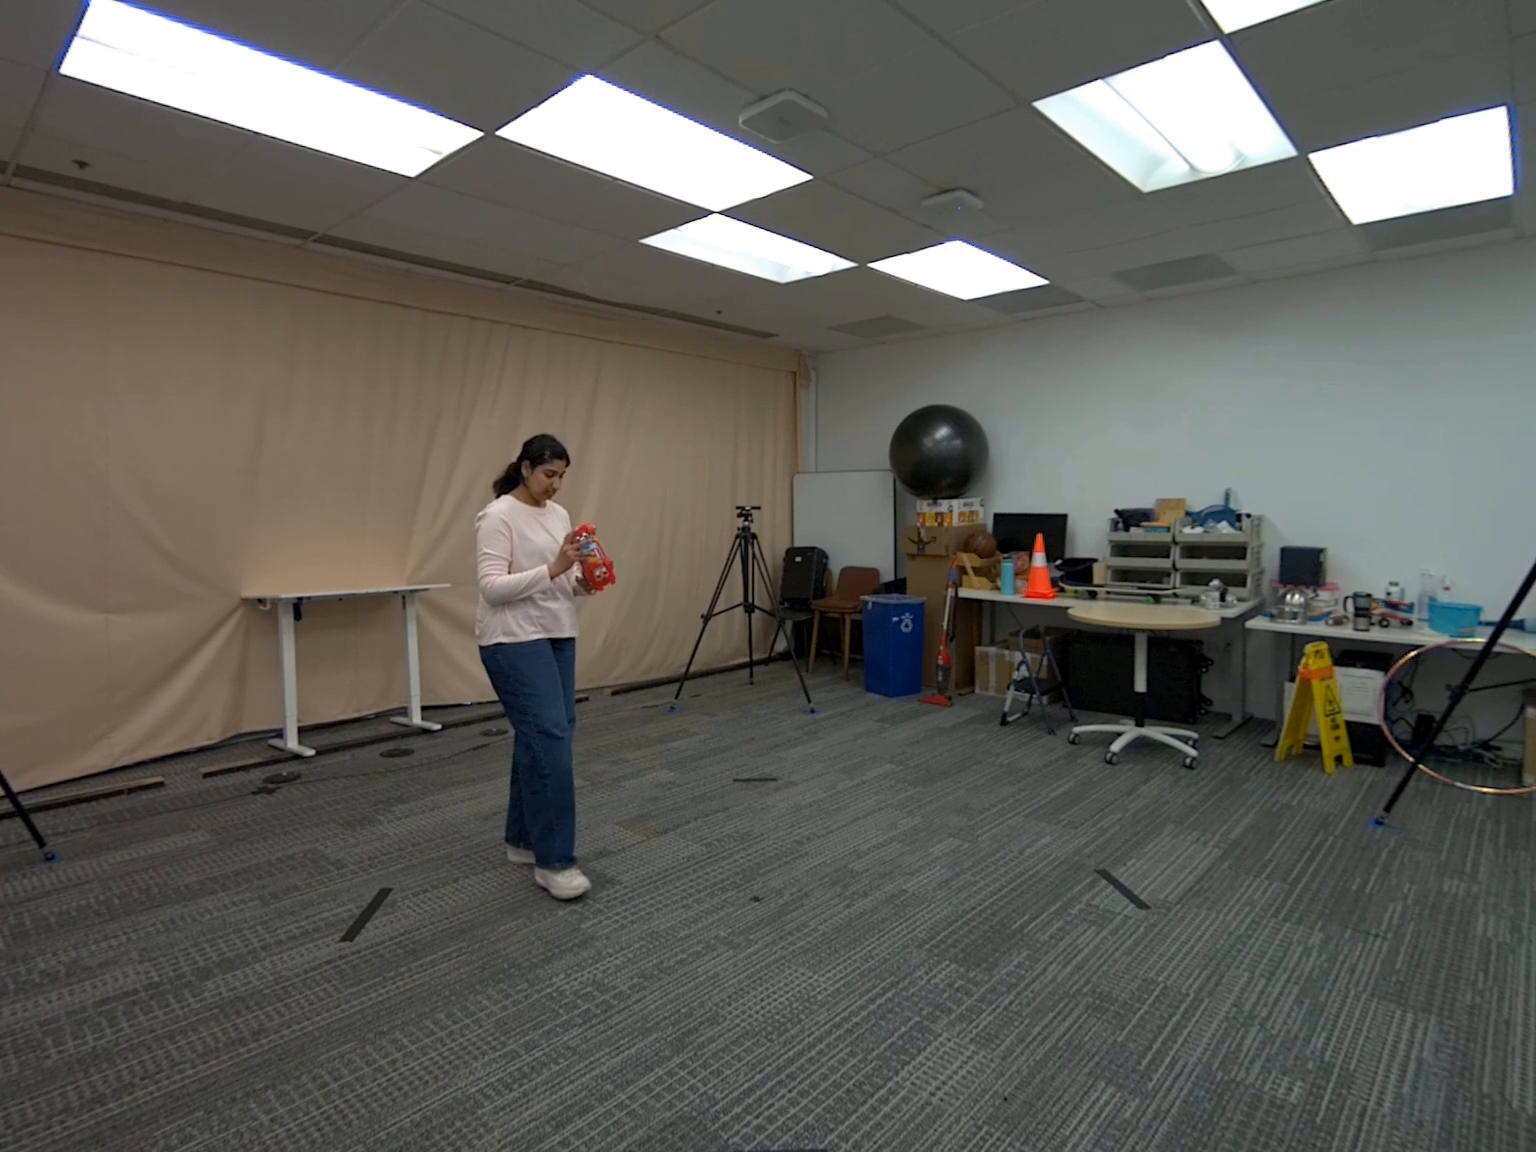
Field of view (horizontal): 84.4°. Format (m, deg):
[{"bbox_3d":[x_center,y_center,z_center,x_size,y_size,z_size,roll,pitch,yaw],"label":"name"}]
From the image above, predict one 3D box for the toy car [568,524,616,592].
[{"bbox_3d":[-0.656,-0.067,3.115,0.129,0.251,0.085,-29,13,-14],"label":"toy car"}]
